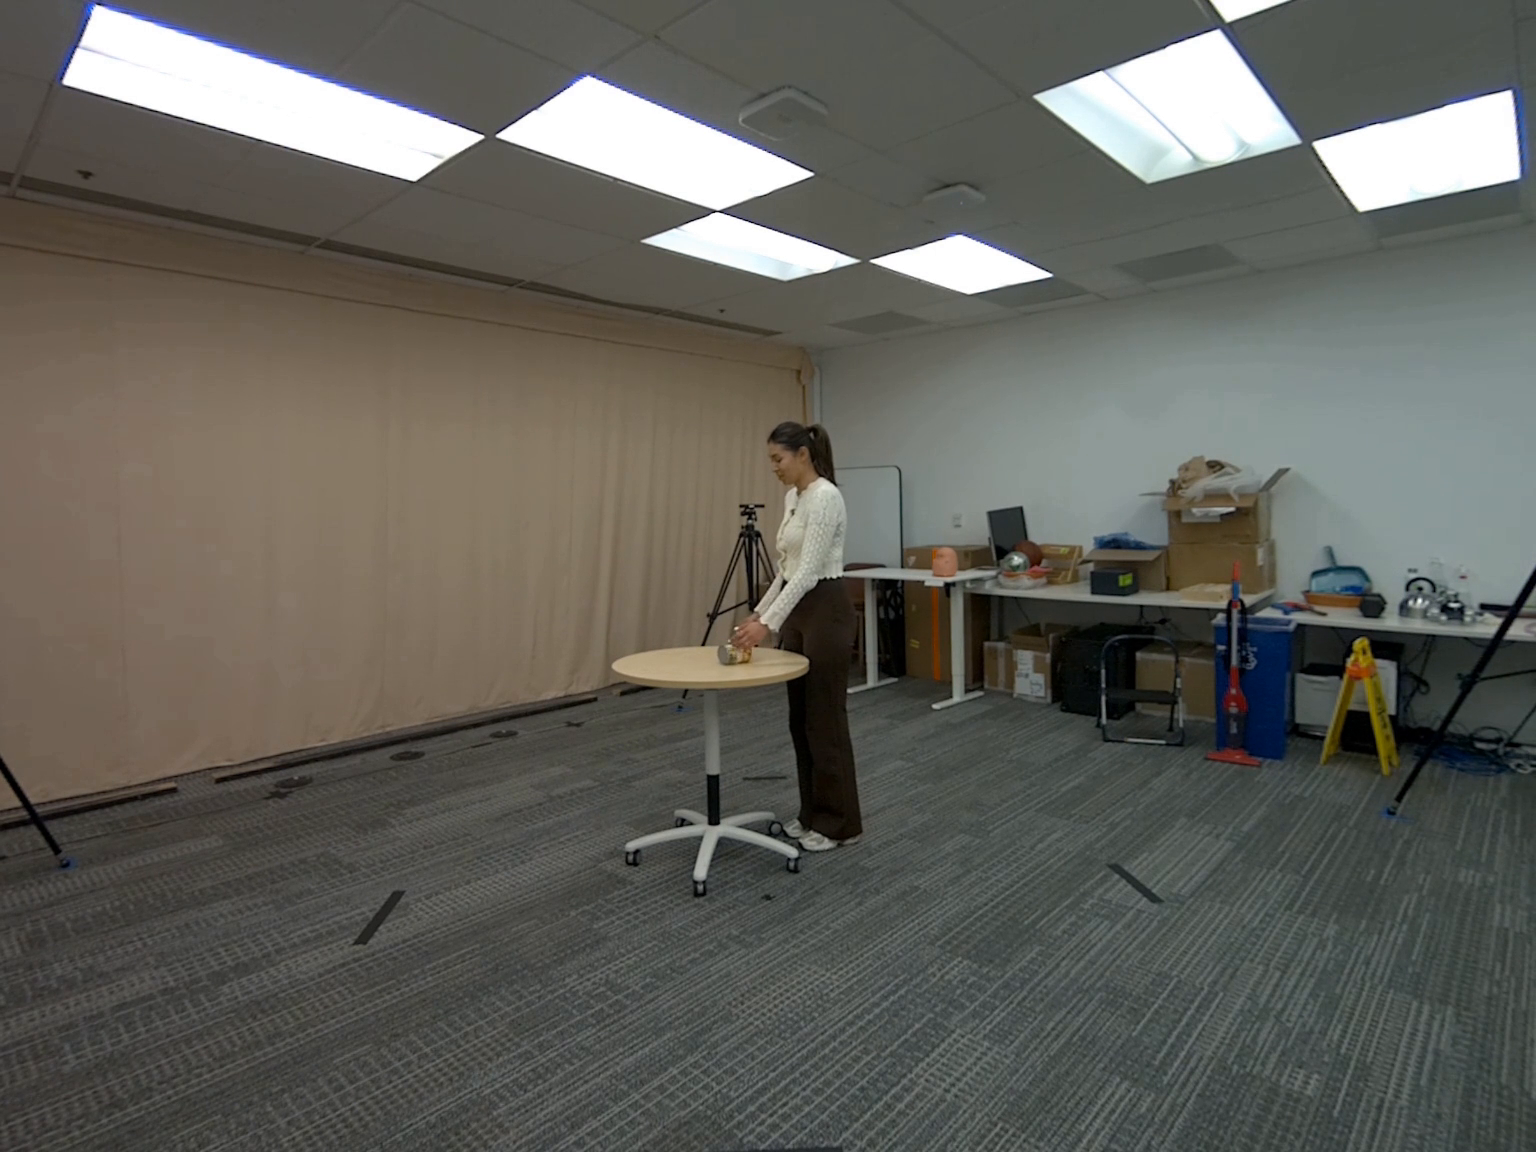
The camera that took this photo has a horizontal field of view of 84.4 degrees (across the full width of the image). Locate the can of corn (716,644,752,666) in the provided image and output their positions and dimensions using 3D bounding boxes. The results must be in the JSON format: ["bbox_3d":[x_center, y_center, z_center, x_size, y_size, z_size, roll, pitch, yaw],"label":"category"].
[{"bbox_3d":[-0.134,0.302,3.237,0.109,0.074,0.076,2,3,-19],"label":"can of corn"}]
